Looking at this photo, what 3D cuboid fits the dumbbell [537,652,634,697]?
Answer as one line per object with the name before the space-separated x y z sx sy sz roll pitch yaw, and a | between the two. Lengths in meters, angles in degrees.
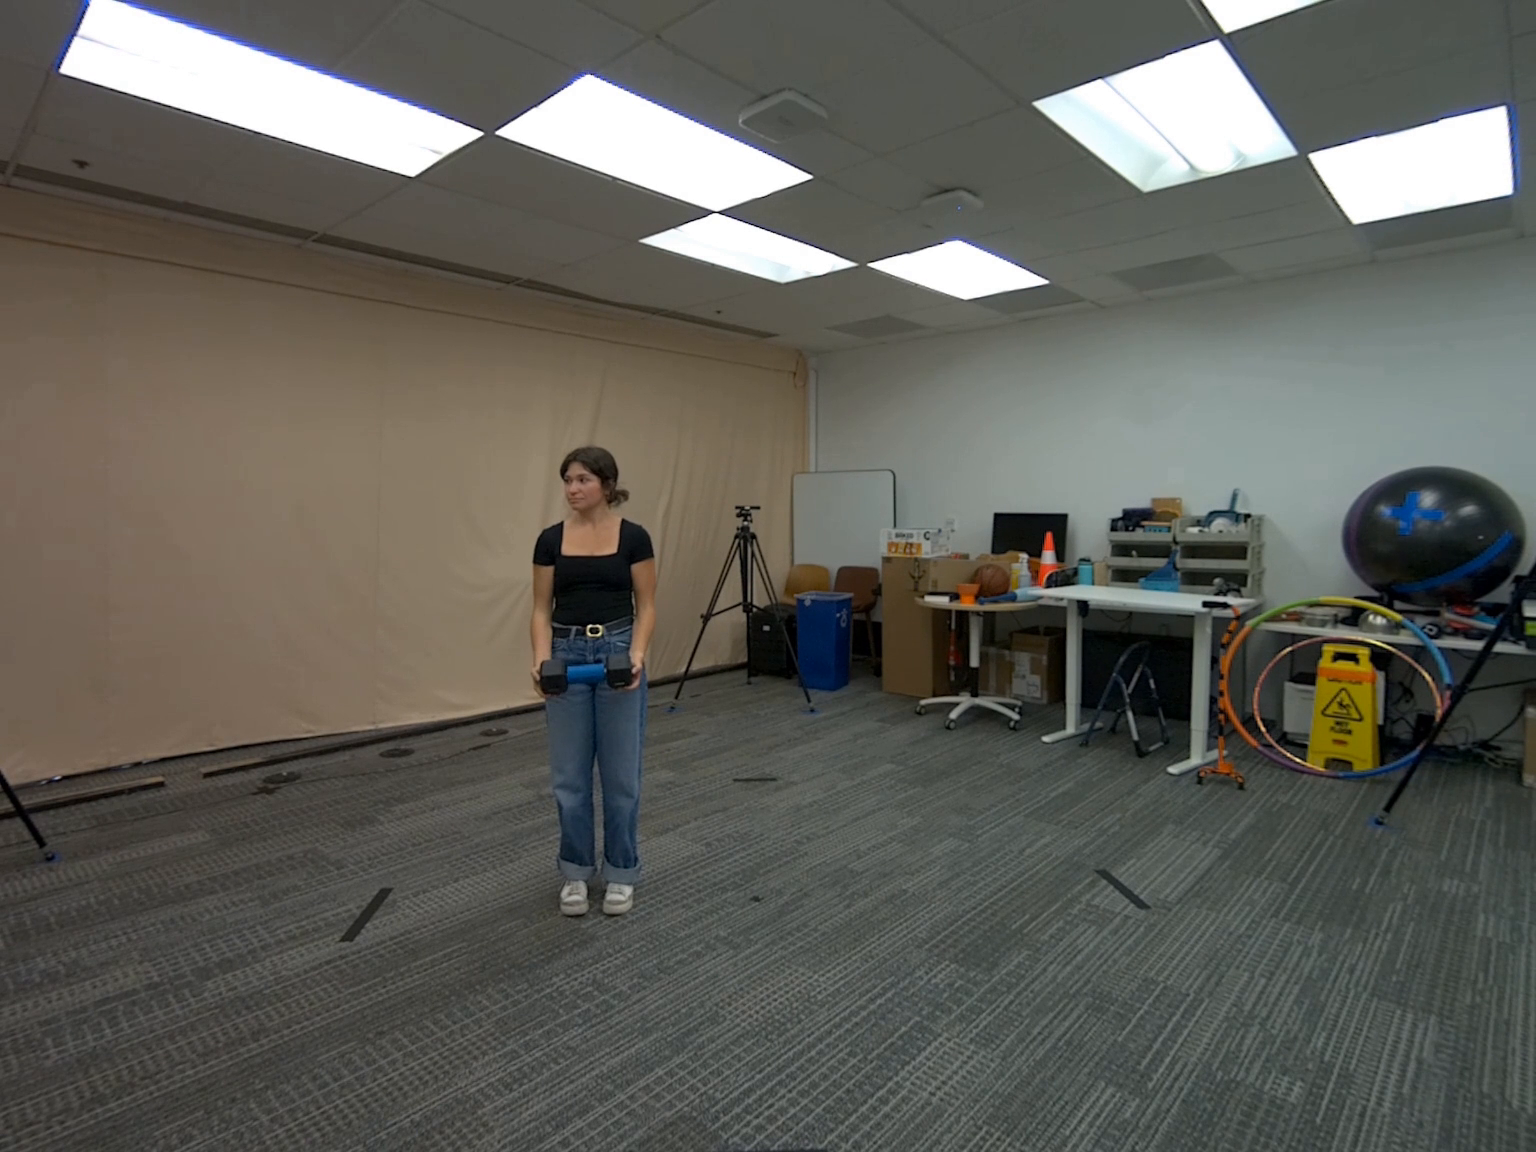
dumbbell | -0.592 0.306 2.736 0.292 0.109 0.122 -4 -11 -4
